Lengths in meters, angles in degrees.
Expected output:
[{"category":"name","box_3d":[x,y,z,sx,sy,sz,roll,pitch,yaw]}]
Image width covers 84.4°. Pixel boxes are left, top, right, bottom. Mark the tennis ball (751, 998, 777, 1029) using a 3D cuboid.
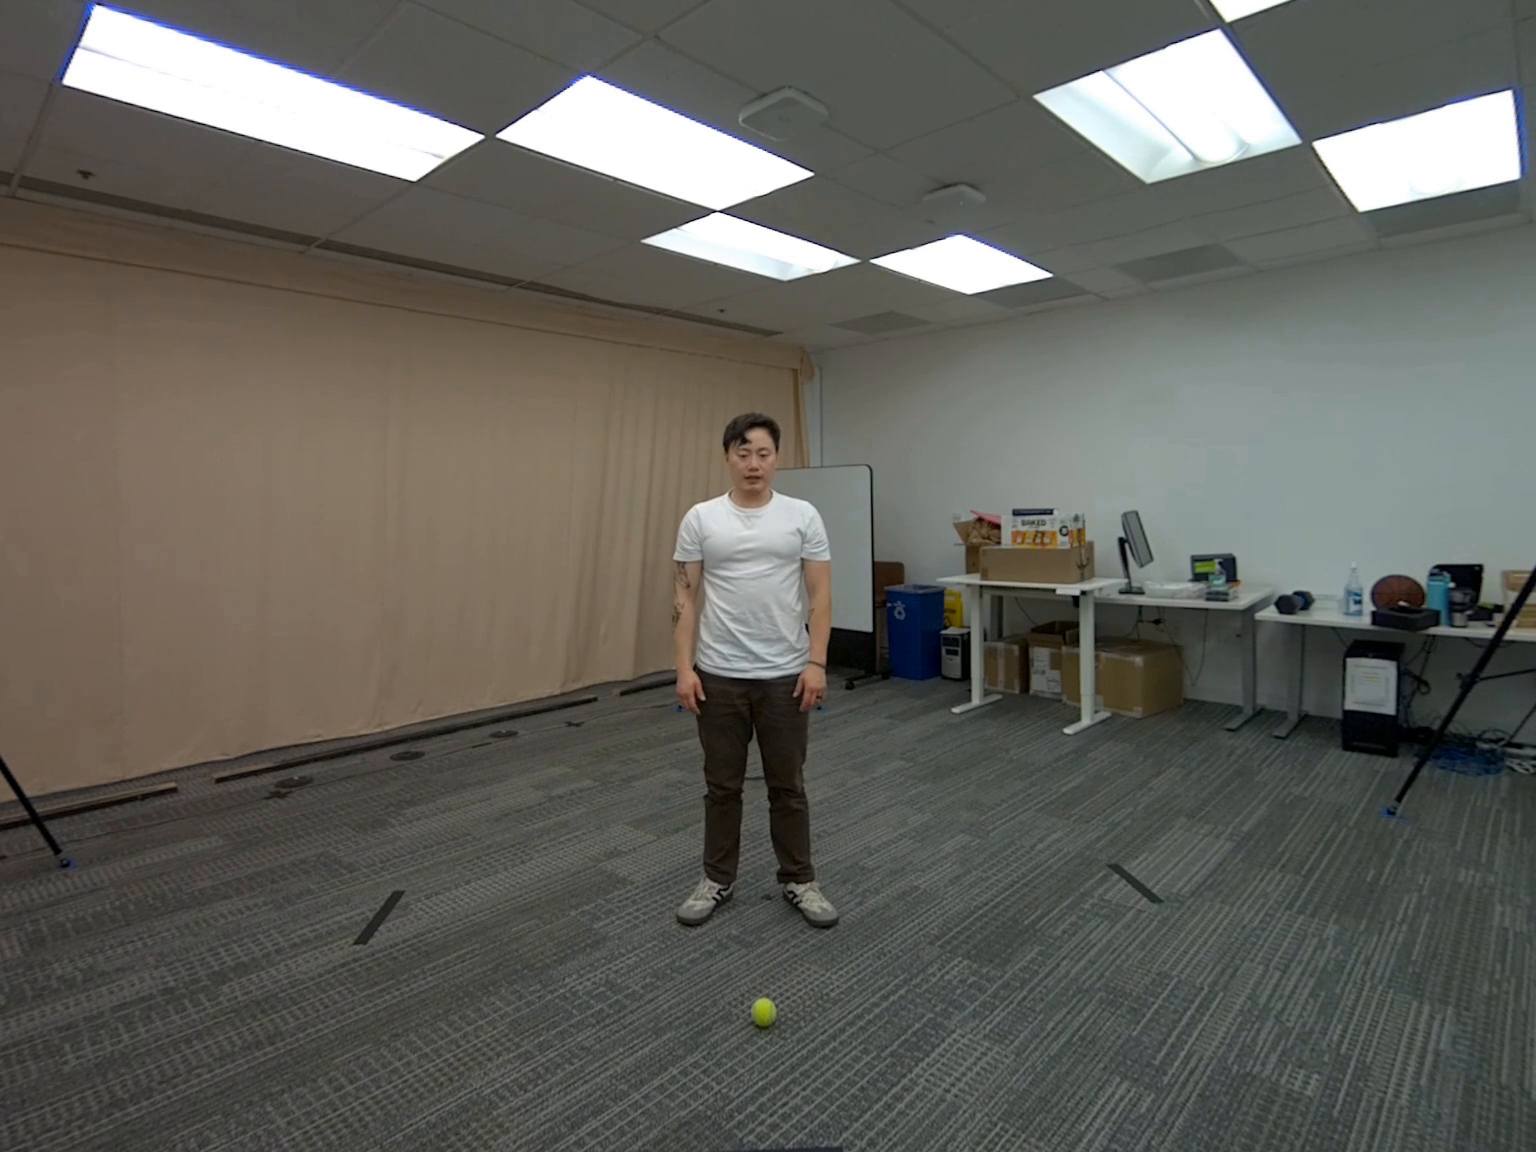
[{"category":"tennis ball","box_3d":[-0.008,1.153,2.248,0.066,0.066,0.067,-1,4,-2]}]
